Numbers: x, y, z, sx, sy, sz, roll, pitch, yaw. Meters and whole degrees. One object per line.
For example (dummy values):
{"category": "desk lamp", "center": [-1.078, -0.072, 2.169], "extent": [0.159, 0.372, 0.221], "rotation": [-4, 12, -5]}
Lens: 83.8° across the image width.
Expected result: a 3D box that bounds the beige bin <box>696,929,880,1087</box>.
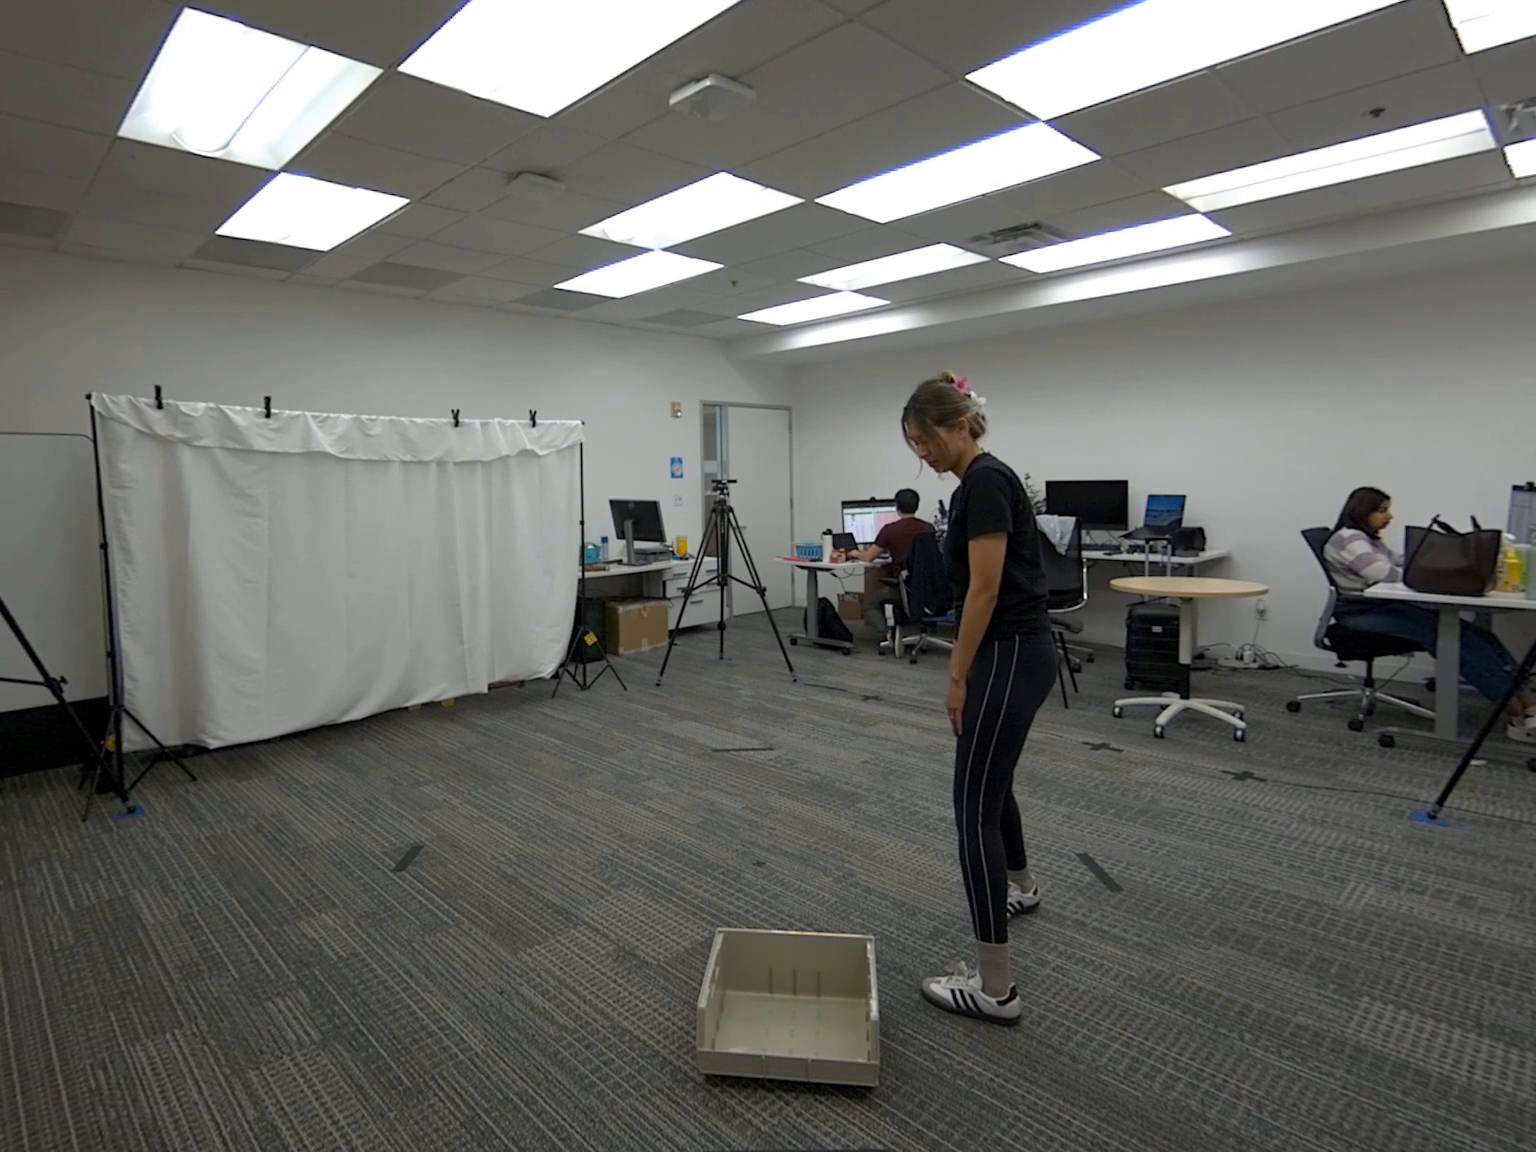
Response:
{"category": "beige bin", "center": [0.065, 1.072, 2.118], "extent": [0.425, 0.188, 0.376], "rotation": [-1, 5, 6]}
